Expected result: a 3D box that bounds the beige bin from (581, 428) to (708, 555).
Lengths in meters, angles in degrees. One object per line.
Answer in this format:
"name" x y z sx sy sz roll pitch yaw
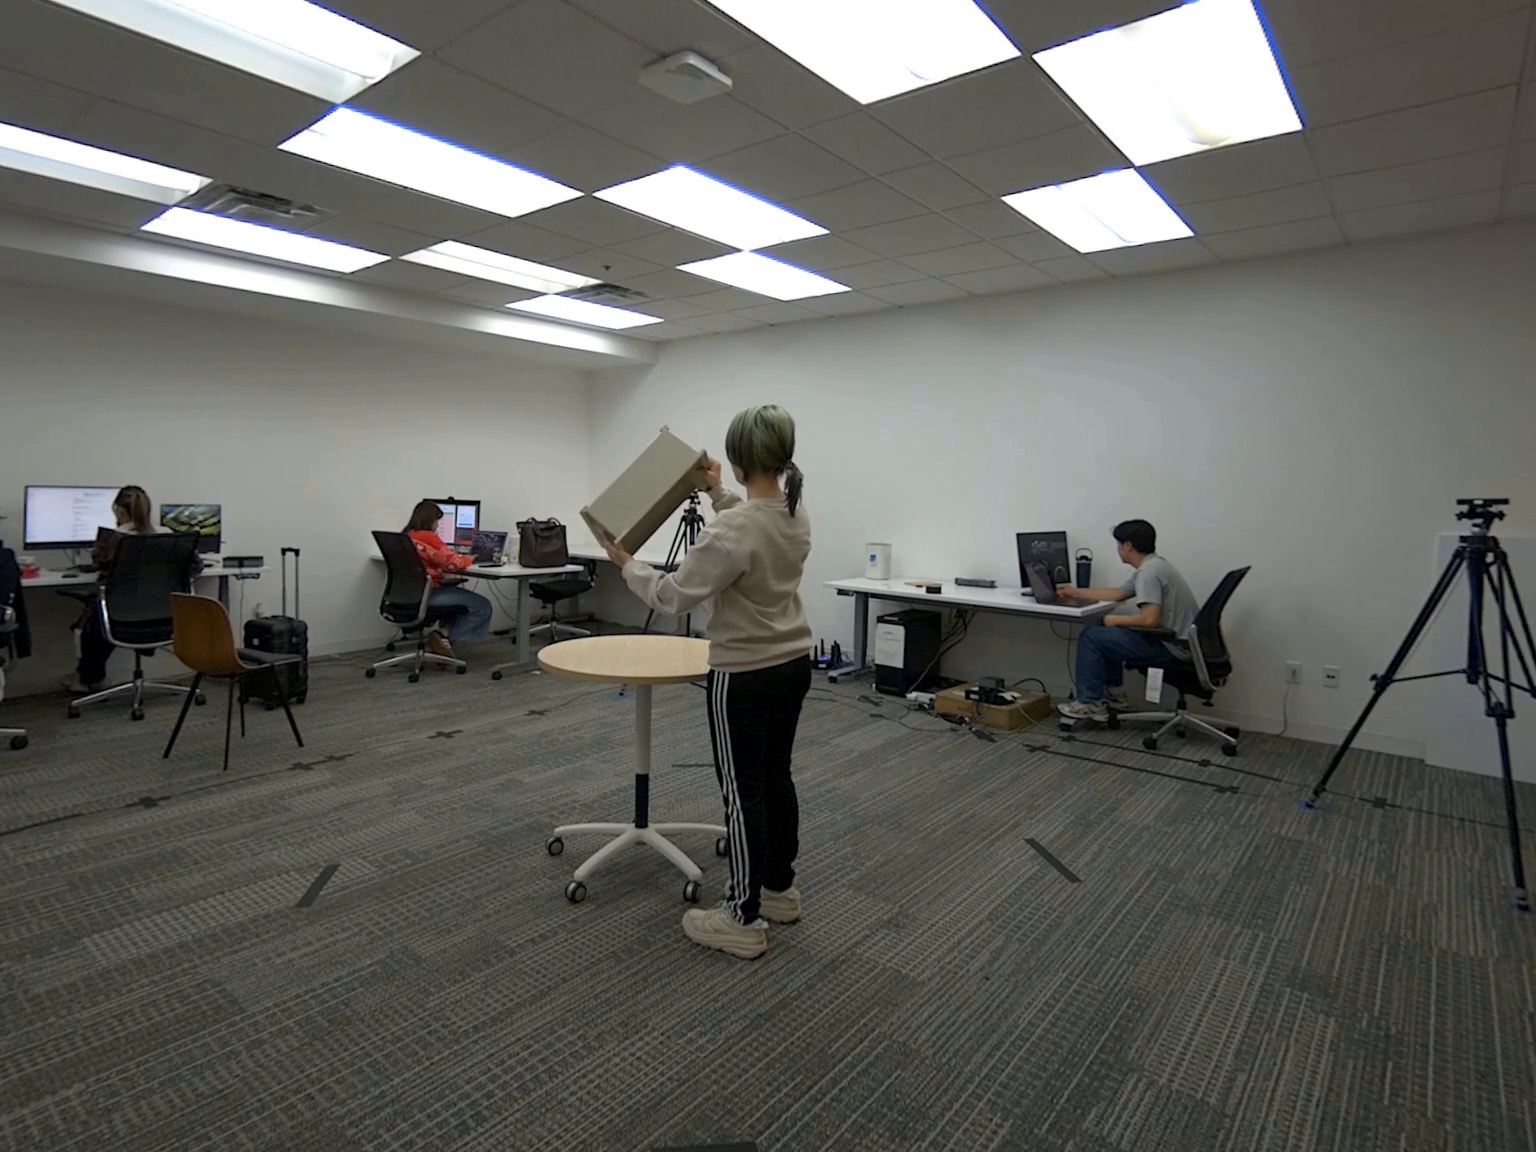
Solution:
"beige bin" -0.396 -0.238 2.892 0.194 0.422 0.367 37 -14 18
